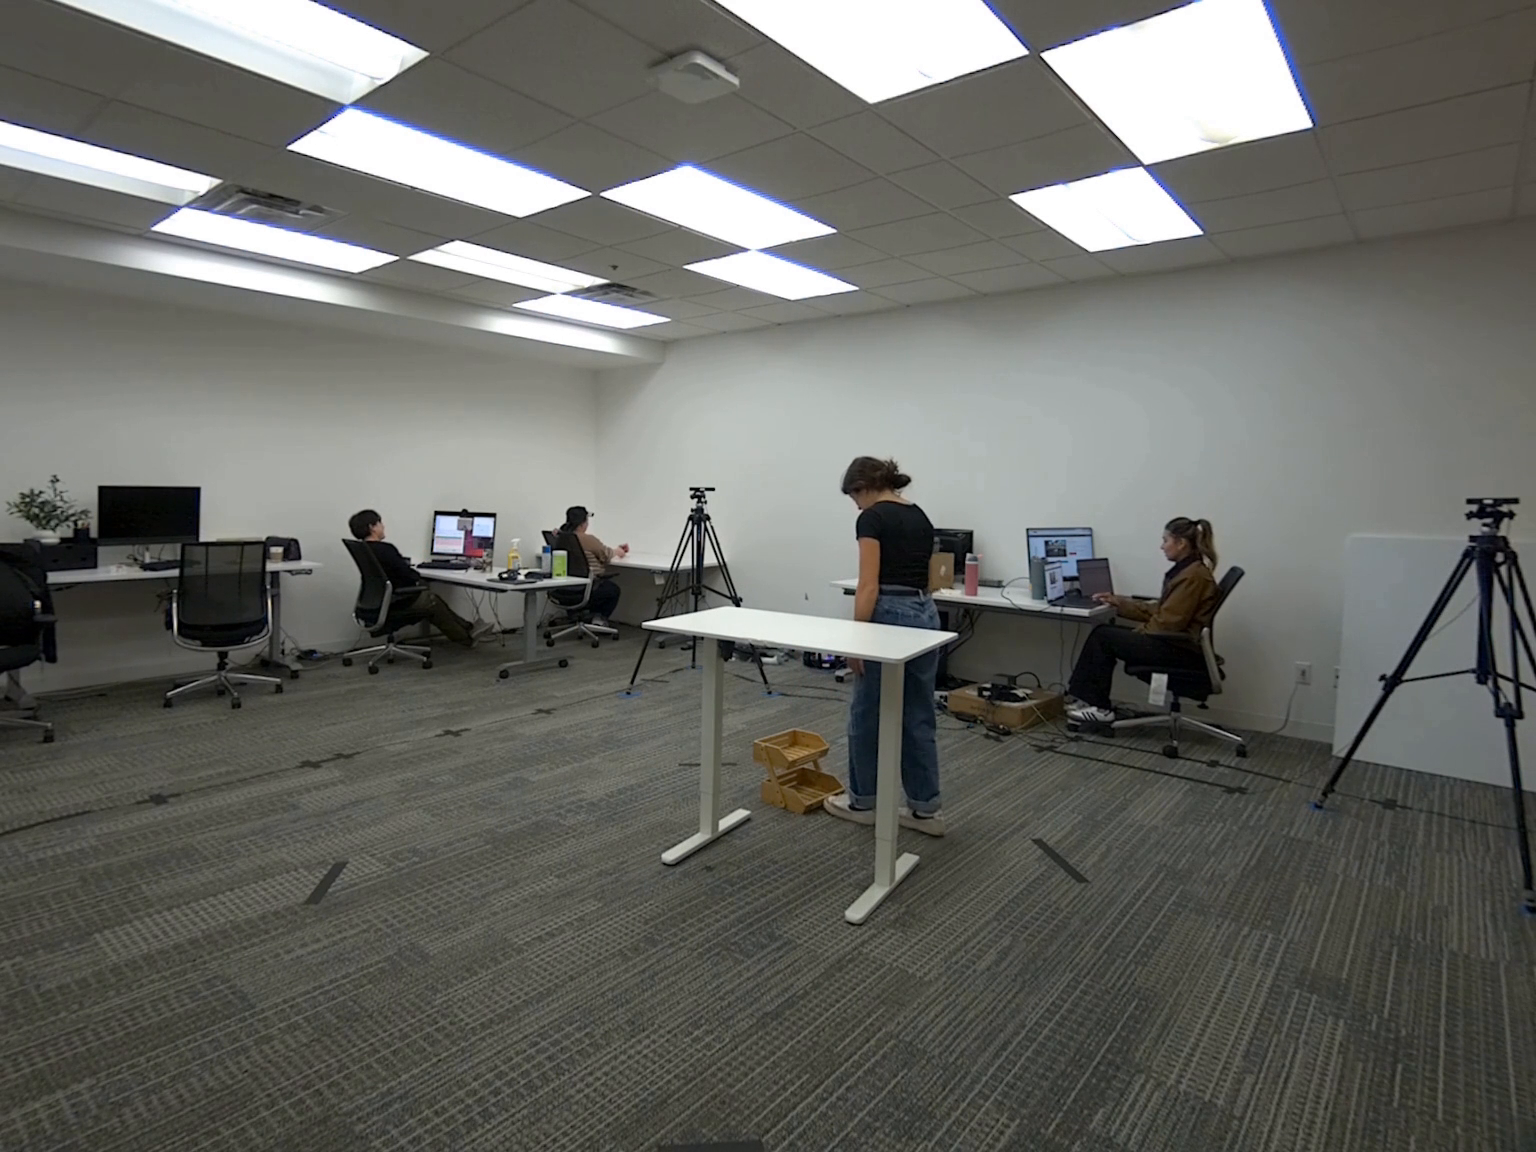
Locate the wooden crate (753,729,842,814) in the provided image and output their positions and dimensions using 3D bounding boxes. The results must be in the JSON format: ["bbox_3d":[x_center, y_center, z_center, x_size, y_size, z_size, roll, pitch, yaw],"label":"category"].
[{"bbox_3d":[0.133,0.868,3.844,0.312,0.272,0.315,4,6,42],"label":"wooden crate"}]
